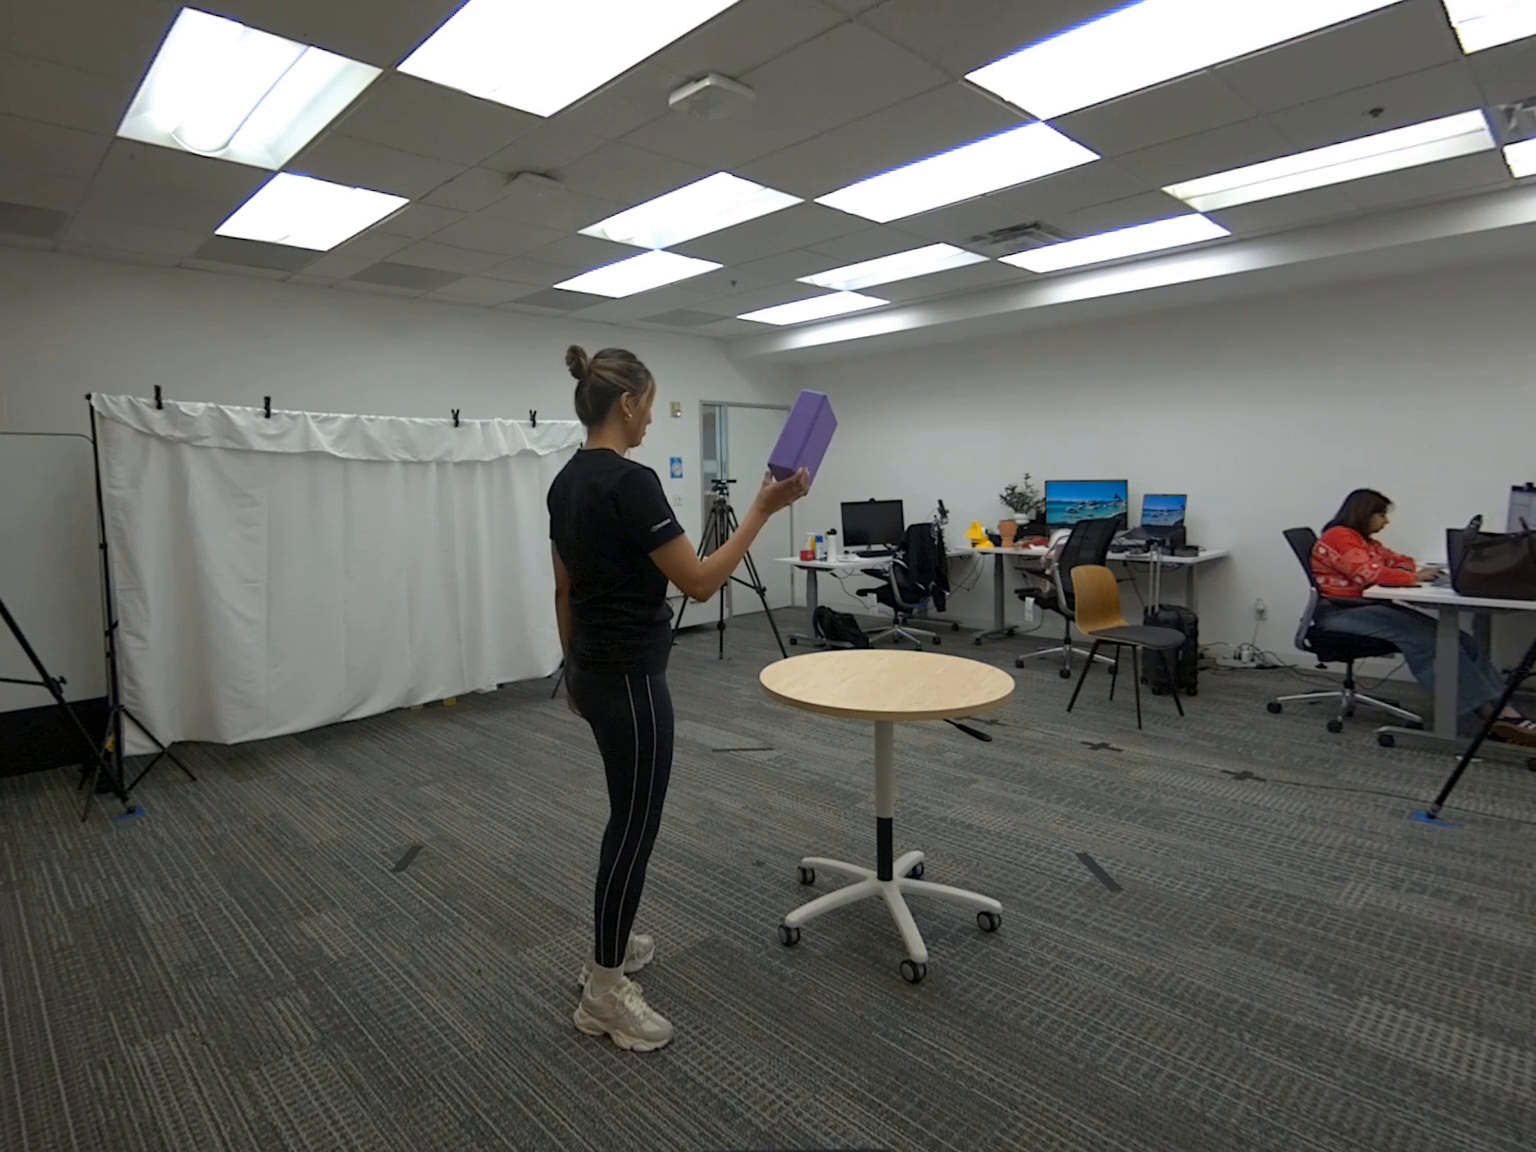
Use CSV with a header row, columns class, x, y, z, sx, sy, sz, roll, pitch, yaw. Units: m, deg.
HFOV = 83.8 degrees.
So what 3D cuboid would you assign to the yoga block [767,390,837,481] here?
class,x,y,z,sx,sy,sz,roll,pitch,yaw
yoga block,0.095,-0.337,2.148,0.078,0.231,0.144,18,-15,23
